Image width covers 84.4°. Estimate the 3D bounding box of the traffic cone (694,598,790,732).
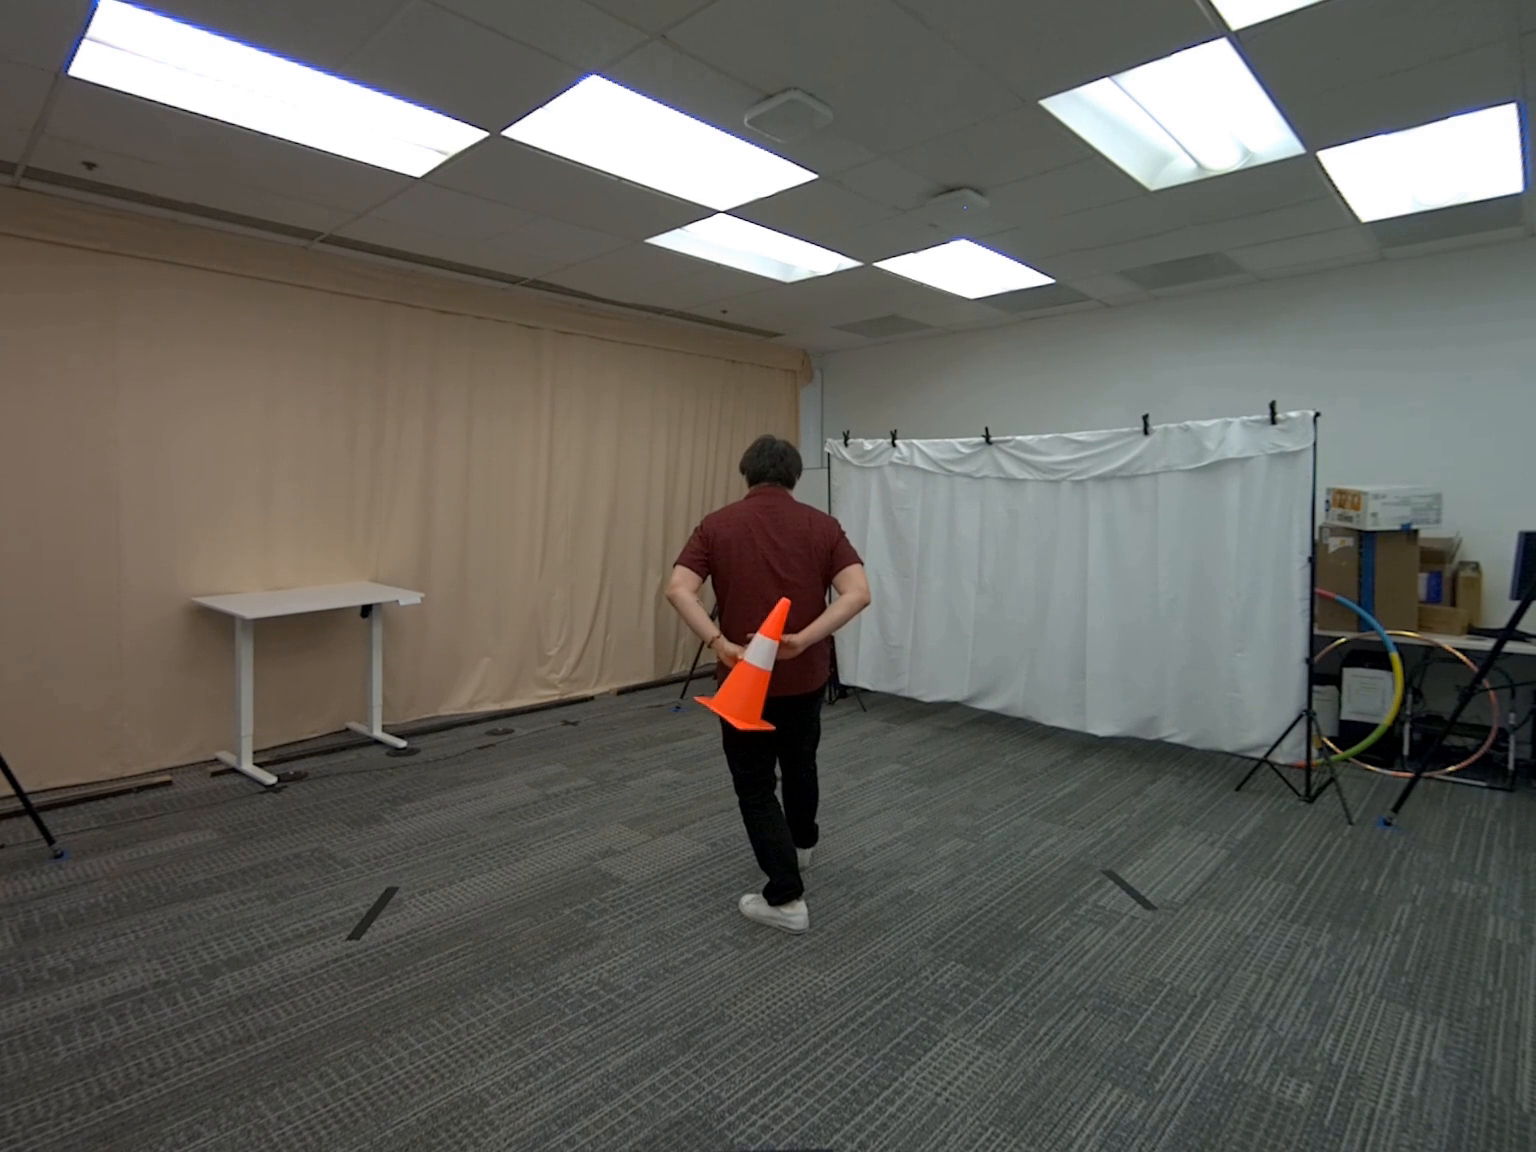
[{"bbox_3d":[-0.032,0.243,2.529,0.210,0.383,0.199,24,5,27],"label":"traffic cone"}]
